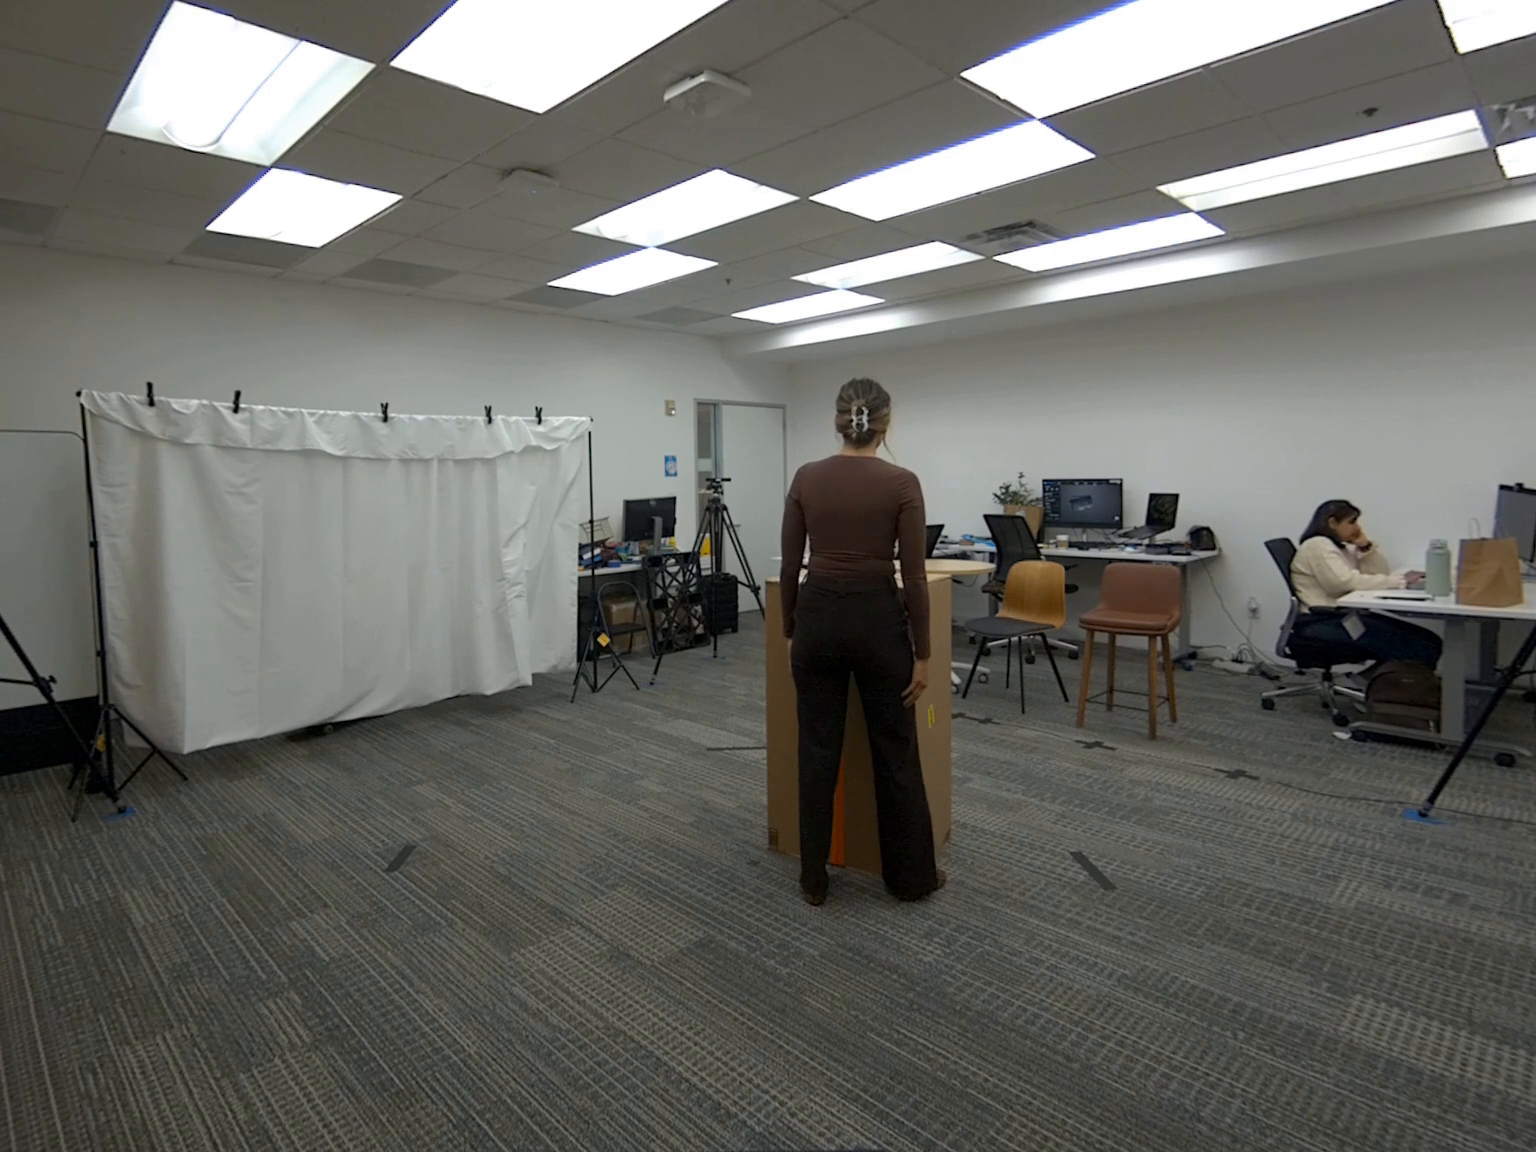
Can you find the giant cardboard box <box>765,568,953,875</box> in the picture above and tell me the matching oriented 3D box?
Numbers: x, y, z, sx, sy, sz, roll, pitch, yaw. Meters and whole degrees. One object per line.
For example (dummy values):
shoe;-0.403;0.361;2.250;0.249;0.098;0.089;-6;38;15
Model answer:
giant cardboard box;0.344;0.513;3.215;0.600;1.023;0.437;2;5;32
